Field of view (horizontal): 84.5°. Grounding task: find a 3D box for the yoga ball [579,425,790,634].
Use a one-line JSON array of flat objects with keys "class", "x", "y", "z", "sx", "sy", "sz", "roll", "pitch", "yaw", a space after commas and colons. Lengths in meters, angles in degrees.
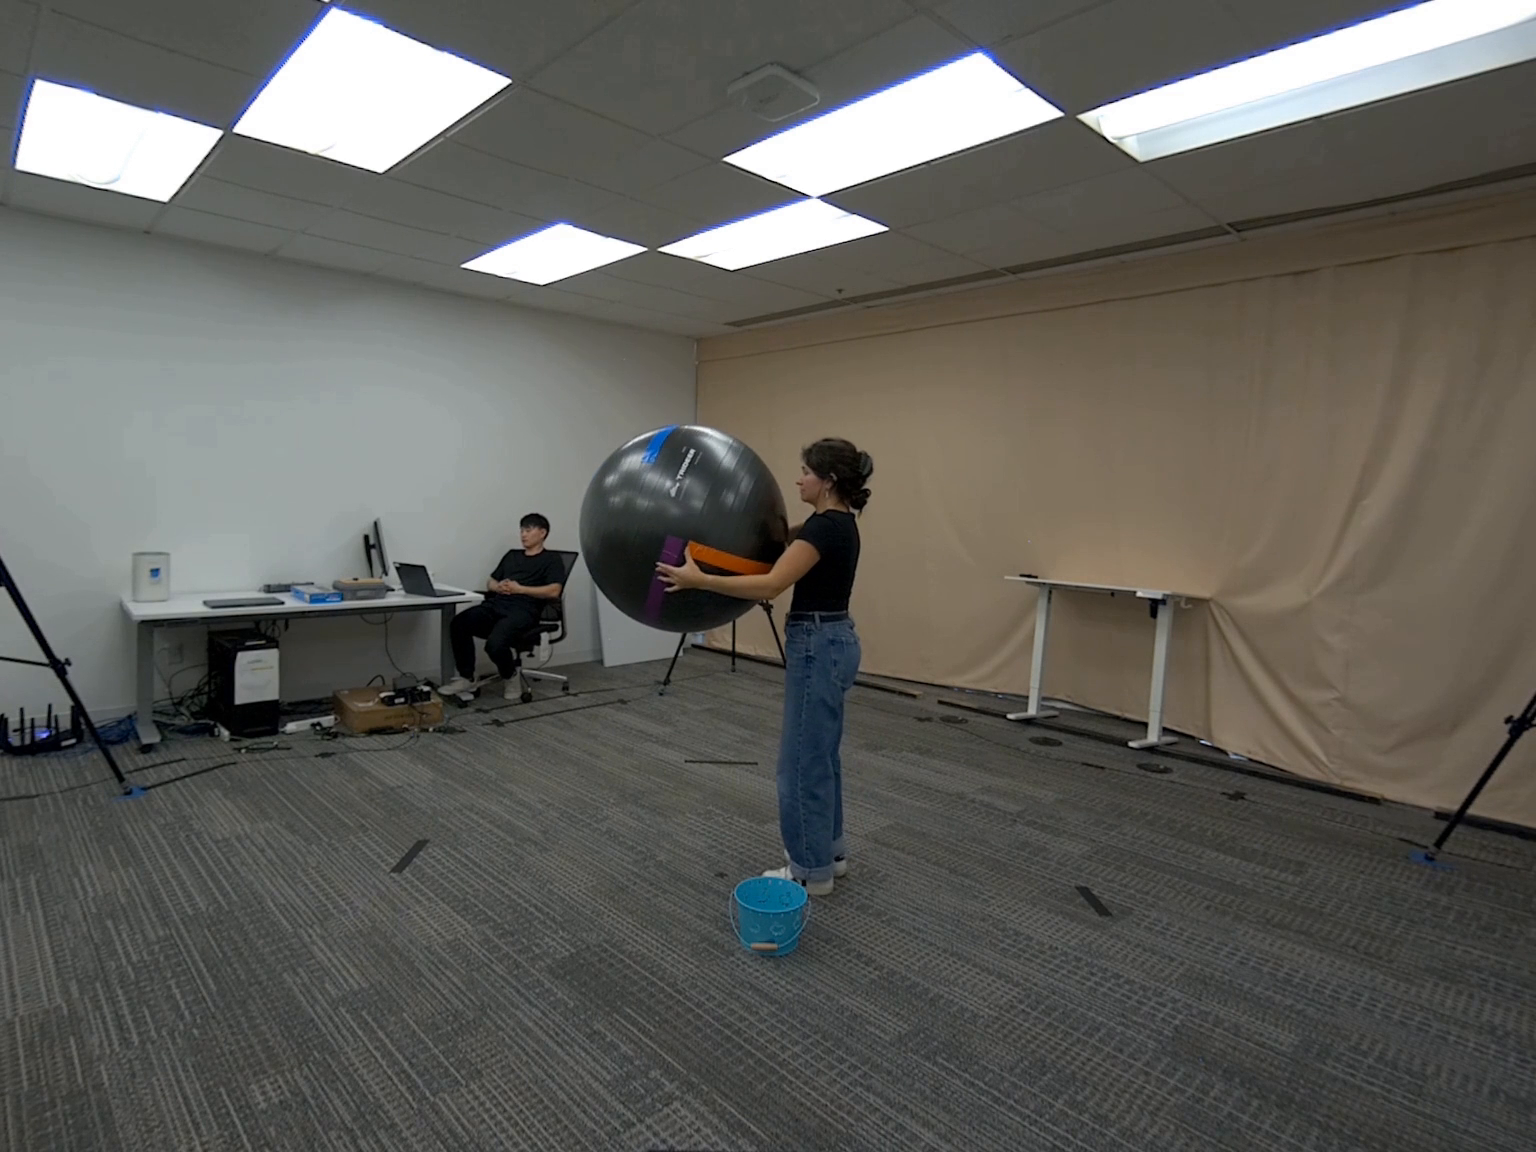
[{"class": "yoga ball", "x": -0.320, "y": -0.171, "z": 3.084, "sx": 0.757, "sy": 0.756, "sz": 0.761, "roll": 1, "pitch": 4, "yaw": -1}]
